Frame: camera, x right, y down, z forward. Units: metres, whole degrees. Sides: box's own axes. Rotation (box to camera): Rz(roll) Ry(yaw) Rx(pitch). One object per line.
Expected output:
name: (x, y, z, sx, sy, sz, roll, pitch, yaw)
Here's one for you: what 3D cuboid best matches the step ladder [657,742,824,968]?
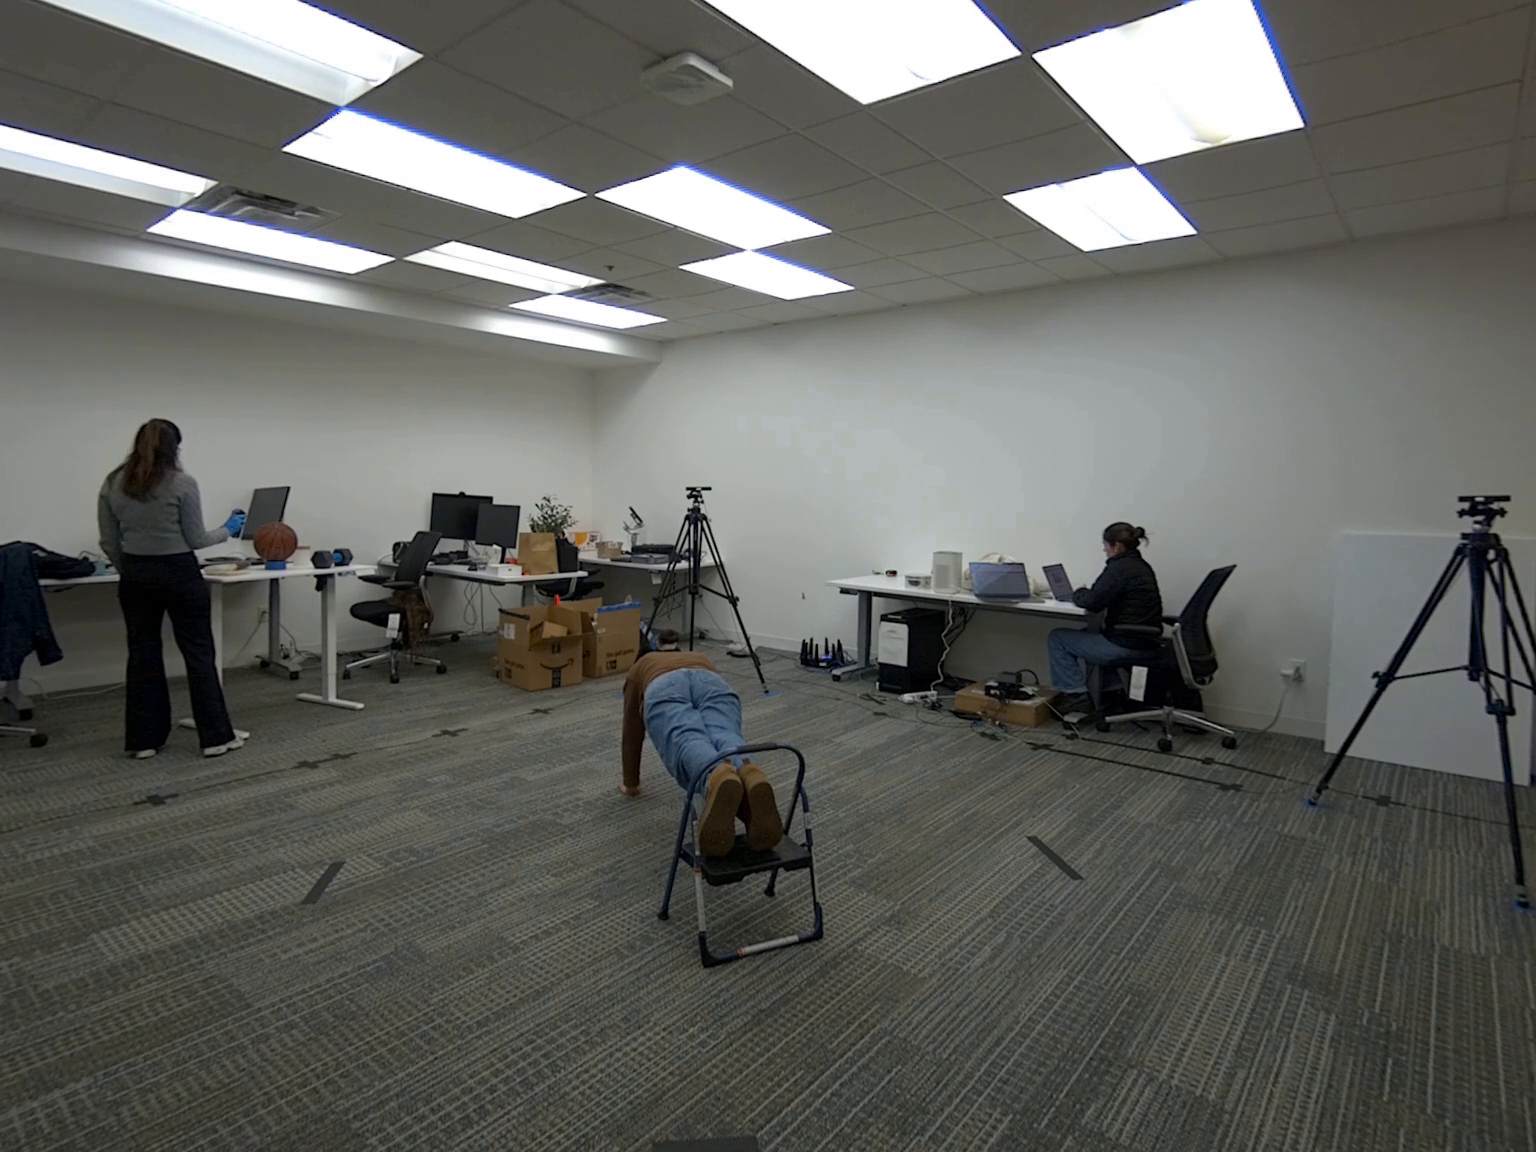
step ladder: (-0.091, 0.809, 2.683, 0.419, 0.604, 0.360, -1, 4, -29)
